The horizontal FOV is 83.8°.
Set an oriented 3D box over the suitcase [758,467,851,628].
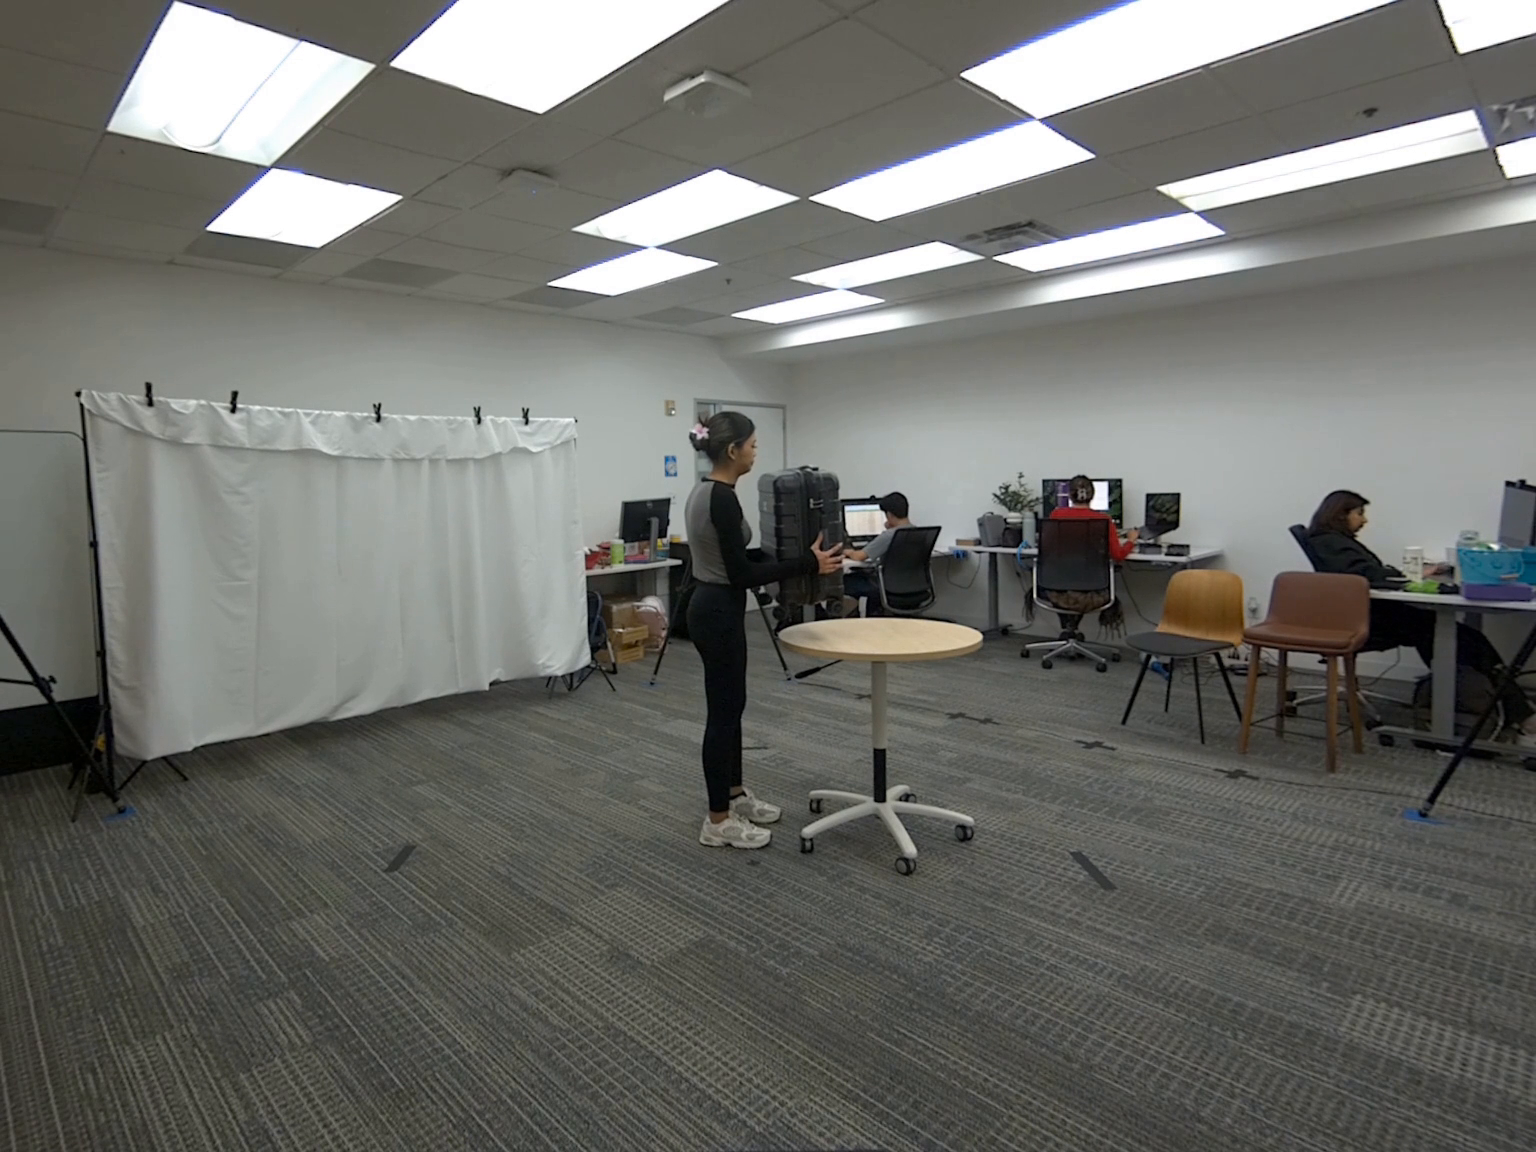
[{"bbox_3d":[0.121,-0.145,3.279,0.246,0.546,0.381,-4,7,-12],"label":"suitcase"}]
